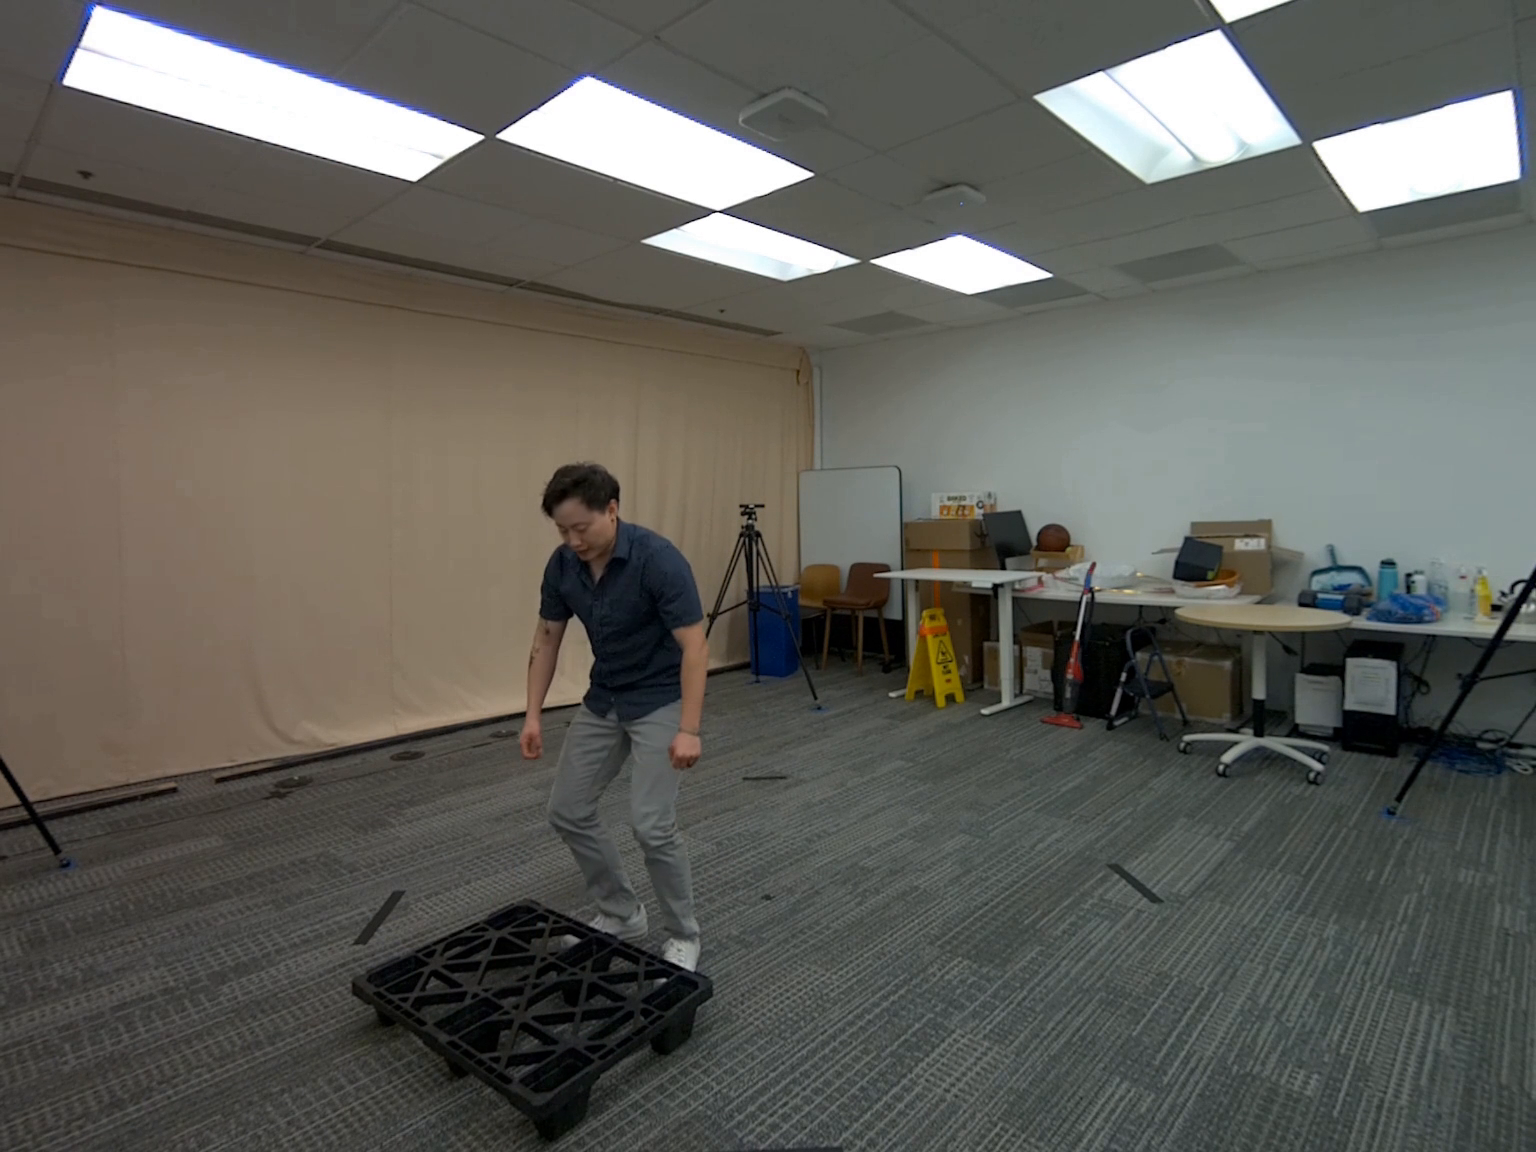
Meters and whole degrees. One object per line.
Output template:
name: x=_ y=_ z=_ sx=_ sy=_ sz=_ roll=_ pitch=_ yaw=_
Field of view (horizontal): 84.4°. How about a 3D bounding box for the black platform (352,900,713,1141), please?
black platform: x=-0.636 y=1.153 z=2.245 sx=0.831 sy=0.143 sz=0.588 roll=3 pitch=7 yaw=38
